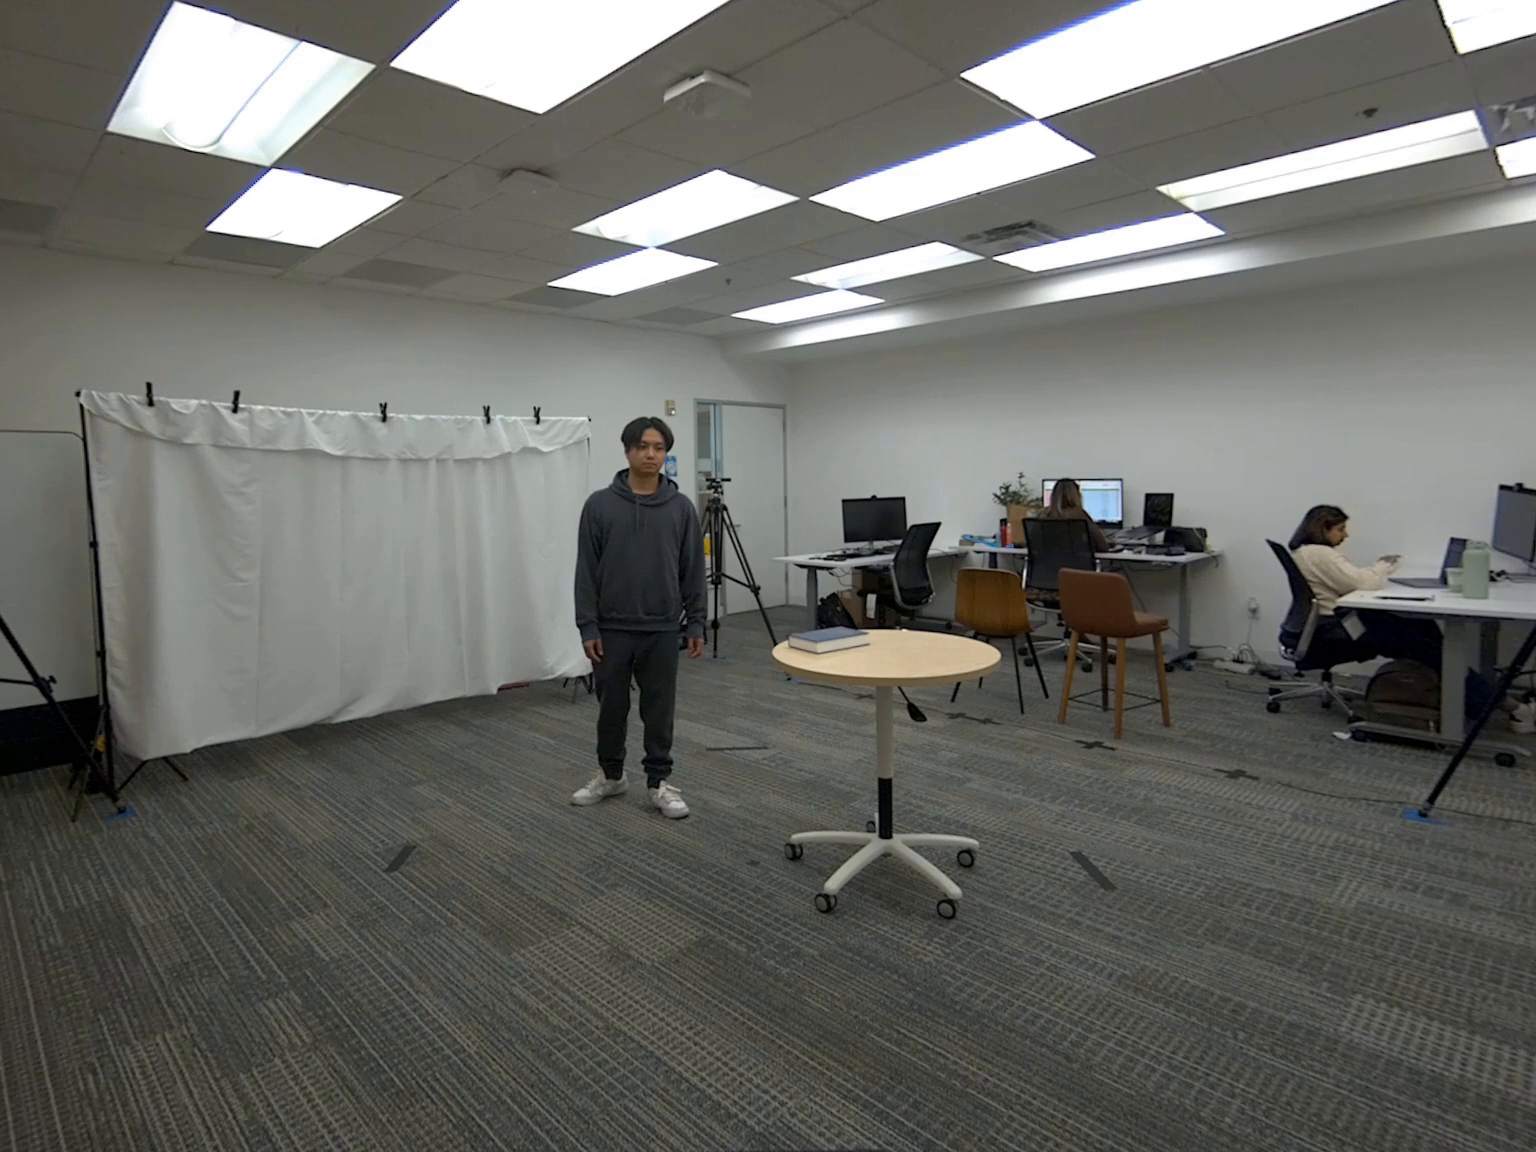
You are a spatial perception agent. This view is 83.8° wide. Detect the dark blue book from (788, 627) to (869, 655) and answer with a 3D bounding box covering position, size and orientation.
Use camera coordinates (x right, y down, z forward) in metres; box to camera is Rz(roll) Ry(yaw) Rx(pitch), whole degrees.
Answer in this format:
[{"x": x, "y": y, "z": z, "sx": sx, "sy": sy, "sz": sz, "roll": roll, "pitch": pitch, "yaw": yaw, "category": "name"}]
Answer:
[{"x": 0.223, "y": 0.231, "z": 3.037, "sx": 0.239, "sy": 0.045, "sz": 0.168, "roll": -6, "pitch": 8, "yaw": -36, "category": "dark blue book"}]
